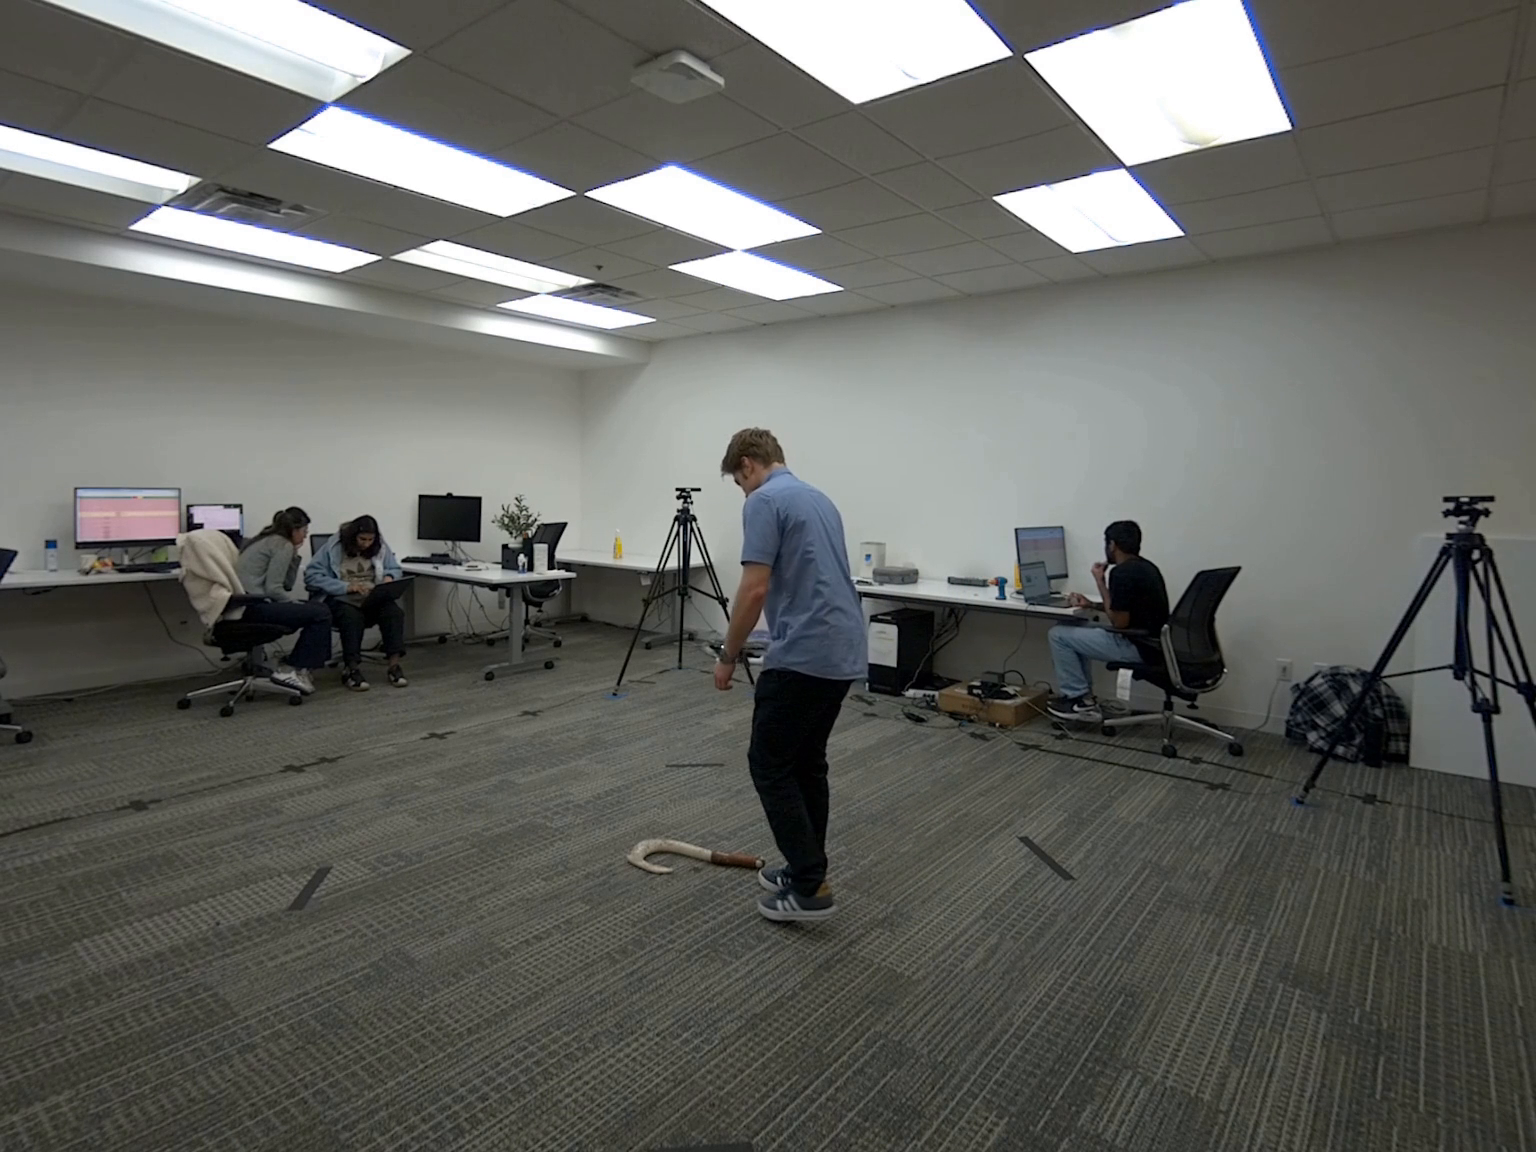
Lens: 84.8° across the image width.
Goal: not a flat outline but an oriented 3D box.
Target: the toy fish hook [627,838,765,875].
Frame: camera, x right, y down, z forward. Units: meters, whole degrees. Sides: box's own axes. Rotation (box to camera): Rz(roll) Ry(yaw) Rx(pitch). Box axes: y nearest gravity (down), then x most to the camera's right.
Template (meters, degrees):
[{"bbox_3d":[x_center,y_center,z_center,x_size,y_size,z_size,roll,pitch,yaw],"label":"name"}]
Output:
[{"bbox_3d":[-0.274,1.051,3.135,0.516,0.048,0.223,2,14,16],"label":"toy fish hook"}]
